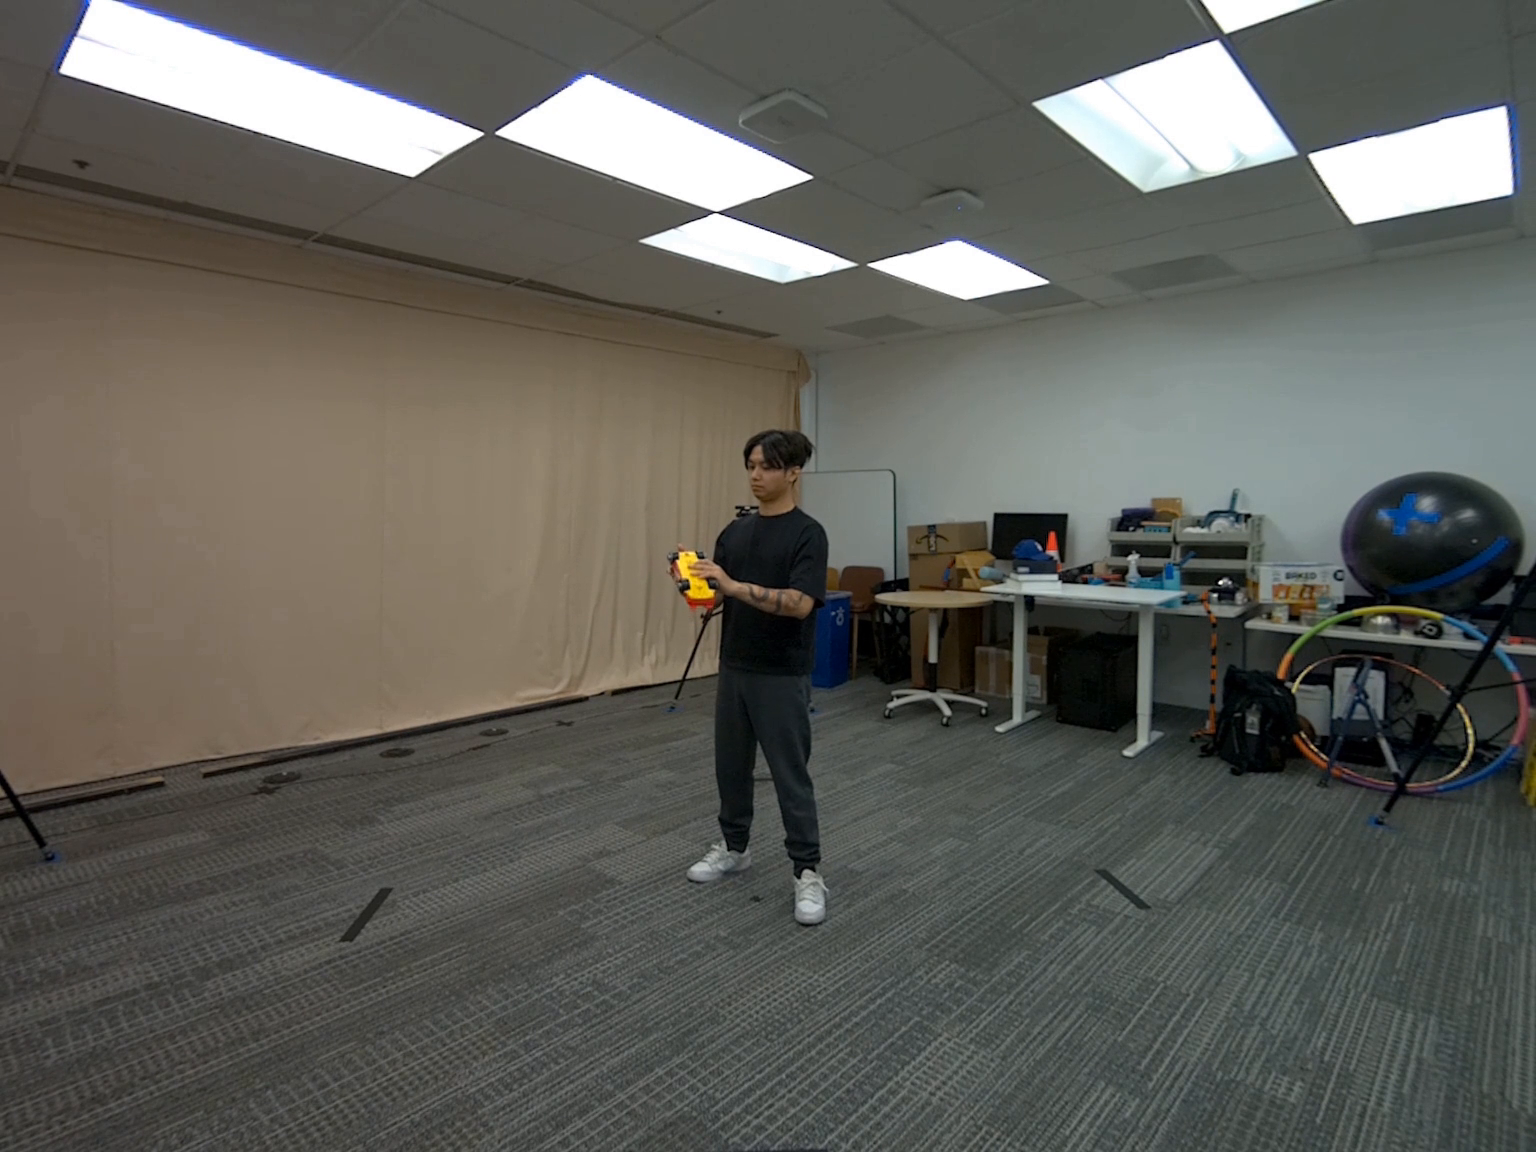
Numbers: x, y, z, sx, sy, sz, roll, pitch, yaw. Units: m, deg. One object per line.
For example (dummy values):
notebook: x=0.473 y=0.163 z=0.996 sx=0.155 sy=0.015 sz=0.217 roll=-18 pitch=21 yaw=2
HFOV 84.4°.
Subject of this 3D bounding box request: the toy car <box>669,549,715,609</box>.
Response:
toy car: x=-0.237 y=0.007 z=2.683 sx=0.128 sy=0.261 sz=0.083 roll=0 pitch=-42 yaw=-20
